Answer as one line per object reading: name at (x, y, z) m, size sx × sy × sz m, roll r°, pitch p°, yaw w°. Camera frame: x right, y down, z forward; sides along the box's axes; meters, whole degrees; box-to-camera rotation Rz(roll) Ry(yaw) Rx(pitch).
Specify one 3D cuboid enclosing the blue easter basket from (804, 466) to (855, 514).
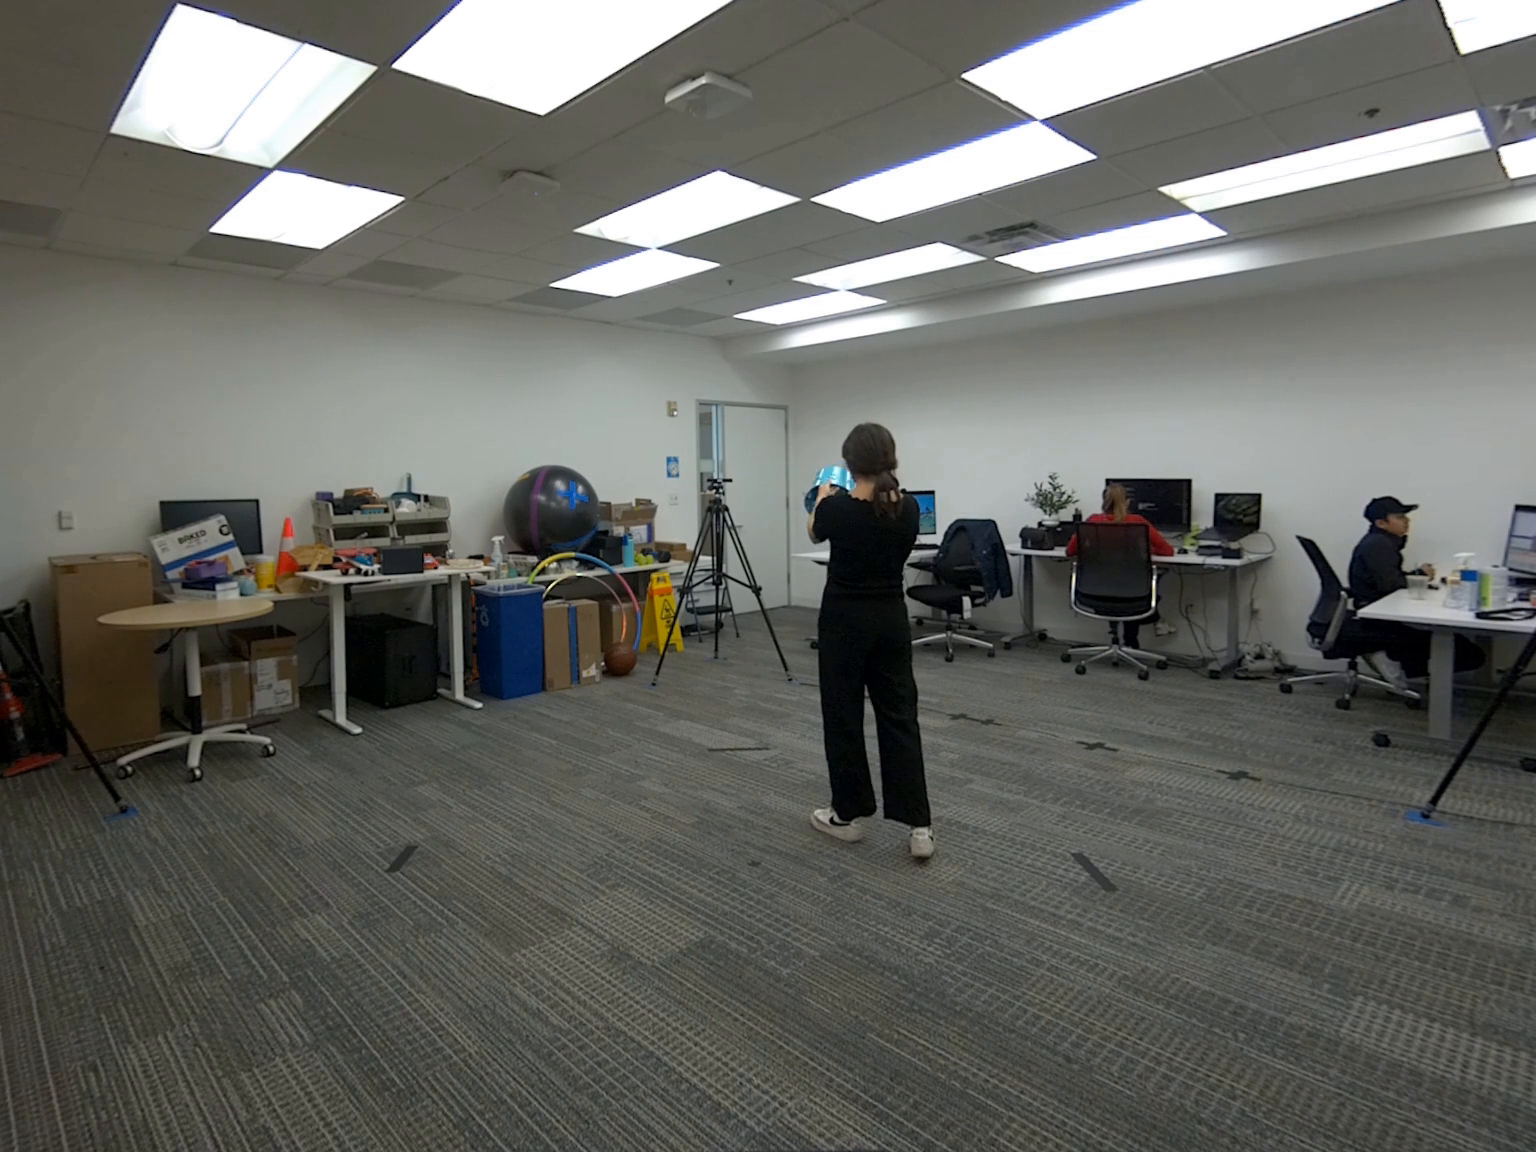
blue easter basket at (0.278, -0.367, 3.761) m, size 0.247 × 0.235 × 0.159 m, roll 1°, pitch 45°, yaw 15°
